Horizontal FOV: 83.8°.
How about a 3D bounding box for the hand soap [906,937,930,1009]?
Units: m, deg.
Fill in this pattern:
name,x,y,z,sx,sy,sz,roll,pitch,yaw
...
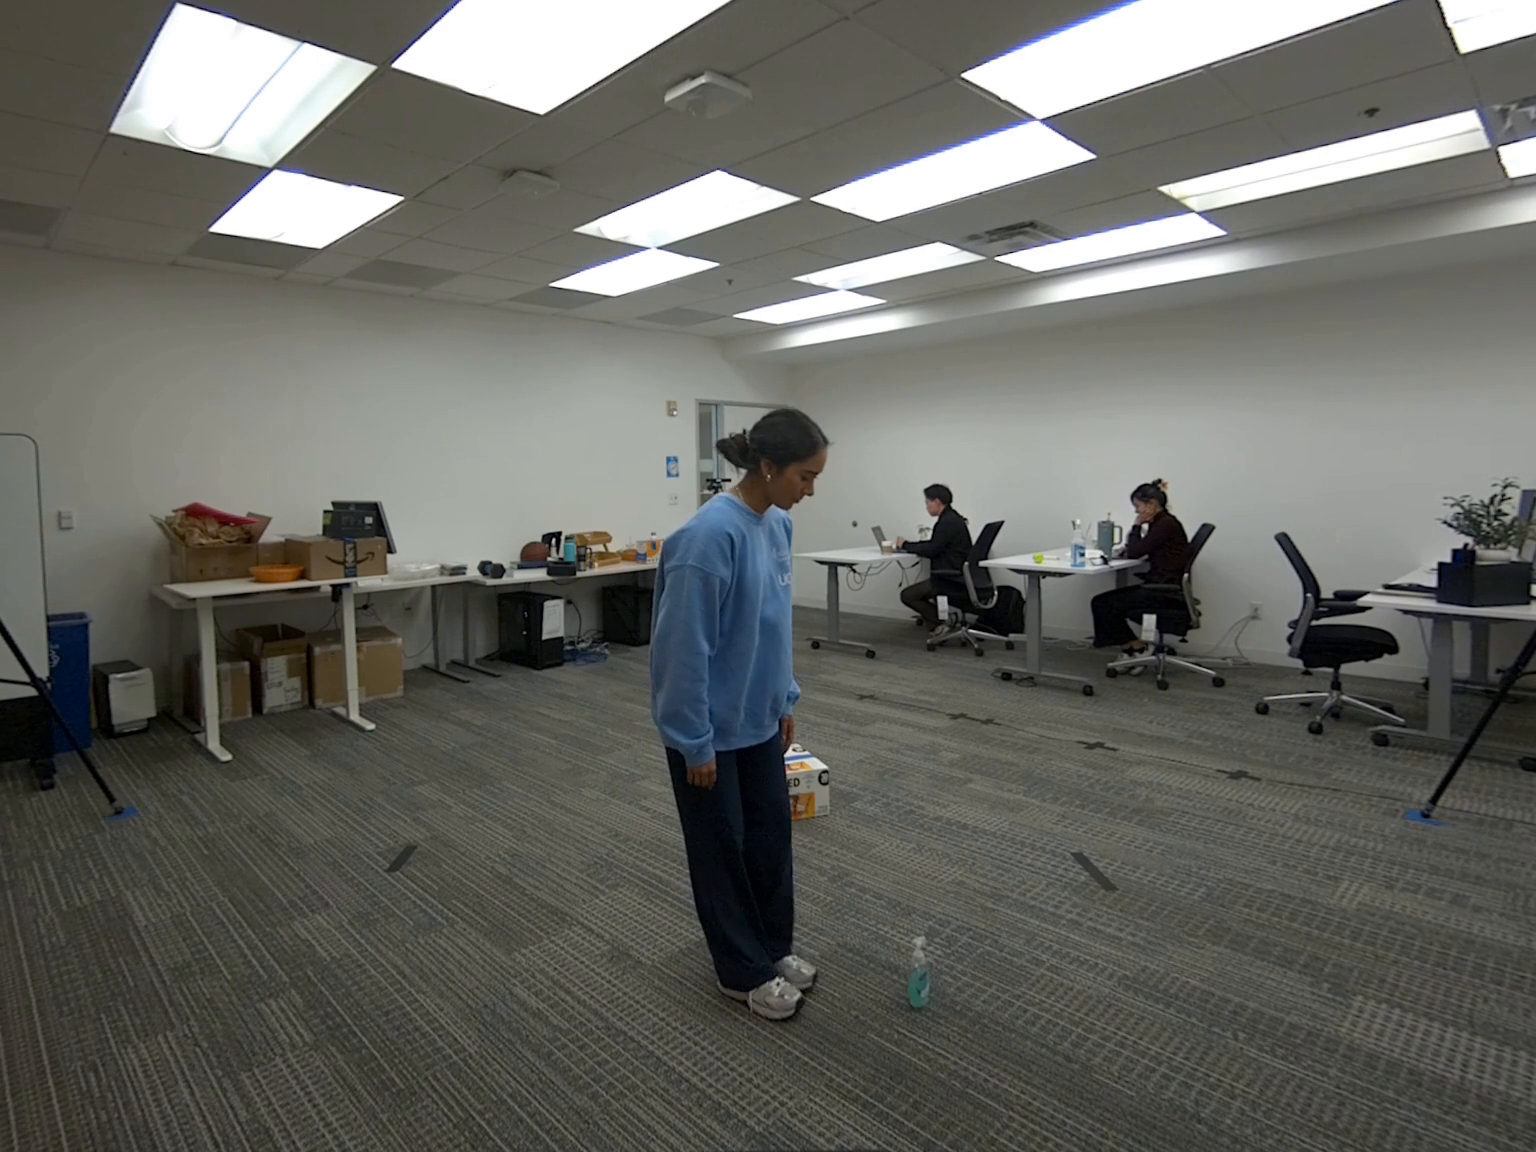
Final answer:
name,x,y,z,sx,sy,sz,roll,pitch,yaw
hand soap,0.400,1.045,2.271,0.045,0.167,0.082,3,6,43
